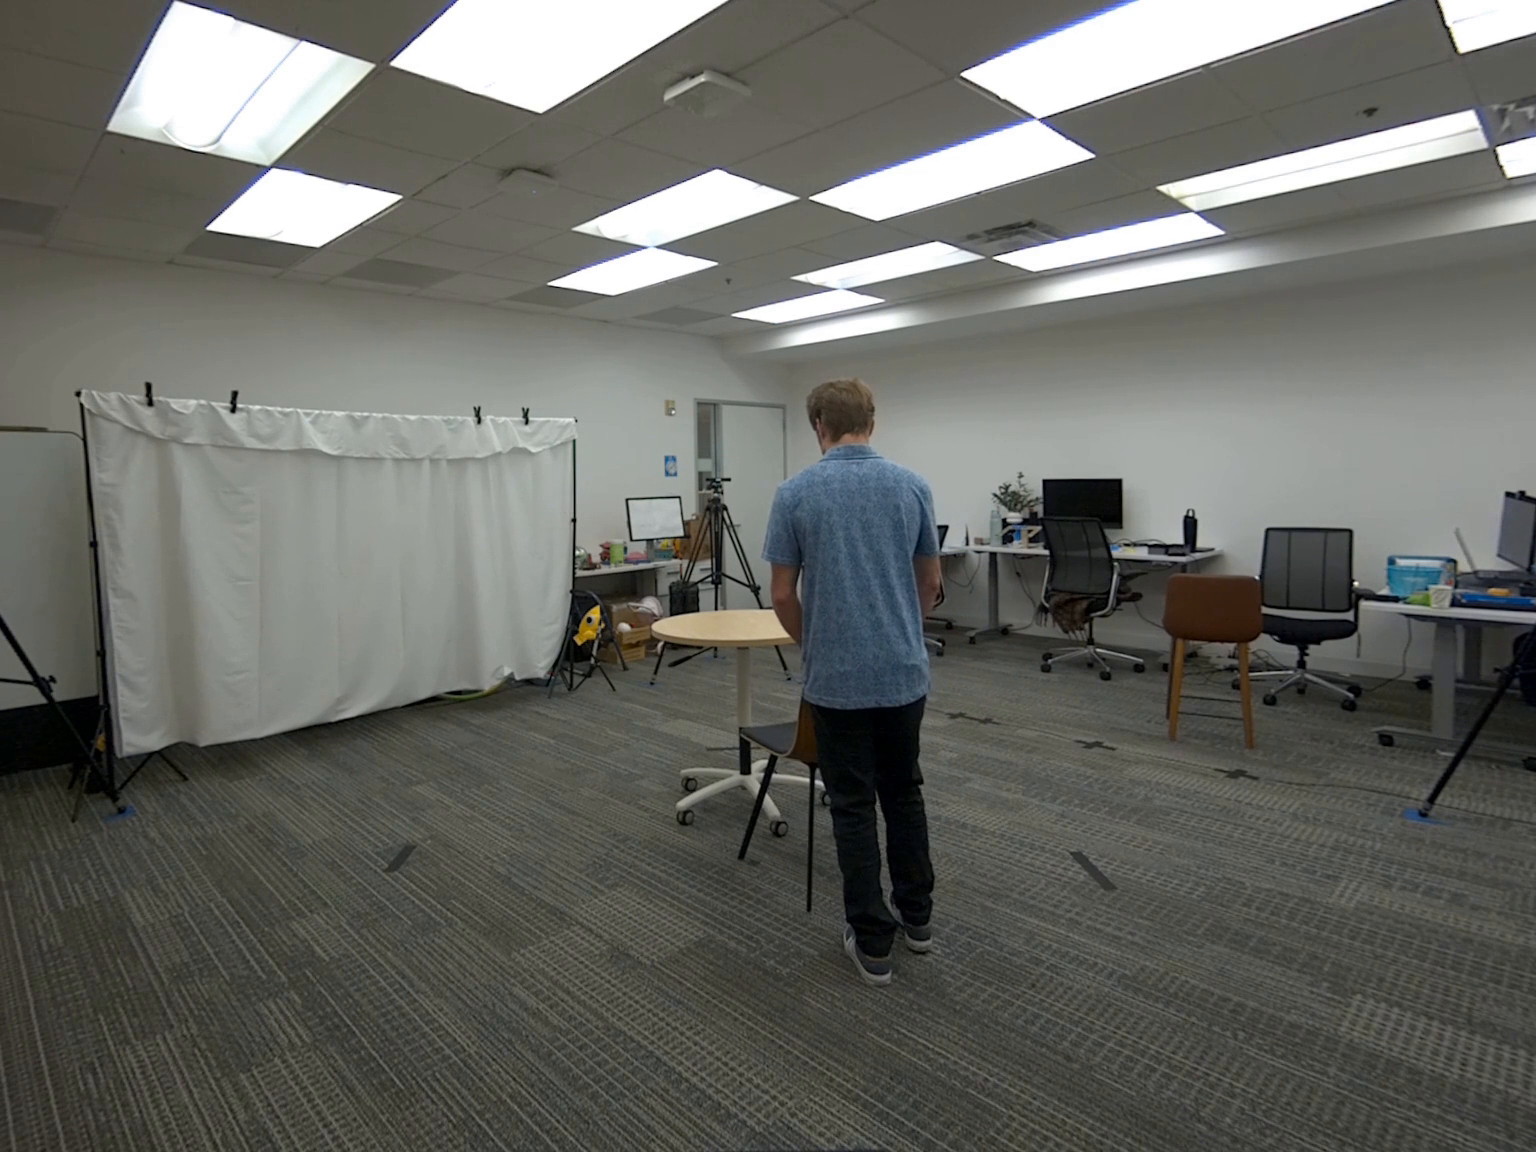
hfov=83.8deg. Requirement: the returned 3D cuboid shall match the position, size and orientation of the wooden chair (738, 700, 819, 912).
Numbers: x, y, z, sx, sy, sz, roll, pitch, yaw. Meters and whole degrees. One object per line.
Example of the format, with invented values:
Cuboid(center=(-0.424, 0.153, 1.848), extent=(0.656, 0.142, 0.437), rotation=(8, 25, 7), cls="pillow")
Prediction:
Cuboid(center=(0.192, 0.622, 3.019), extent=(0.467, 0.871, 0.539), rotation=(-4, 9, -30), cls="wooden chair")
